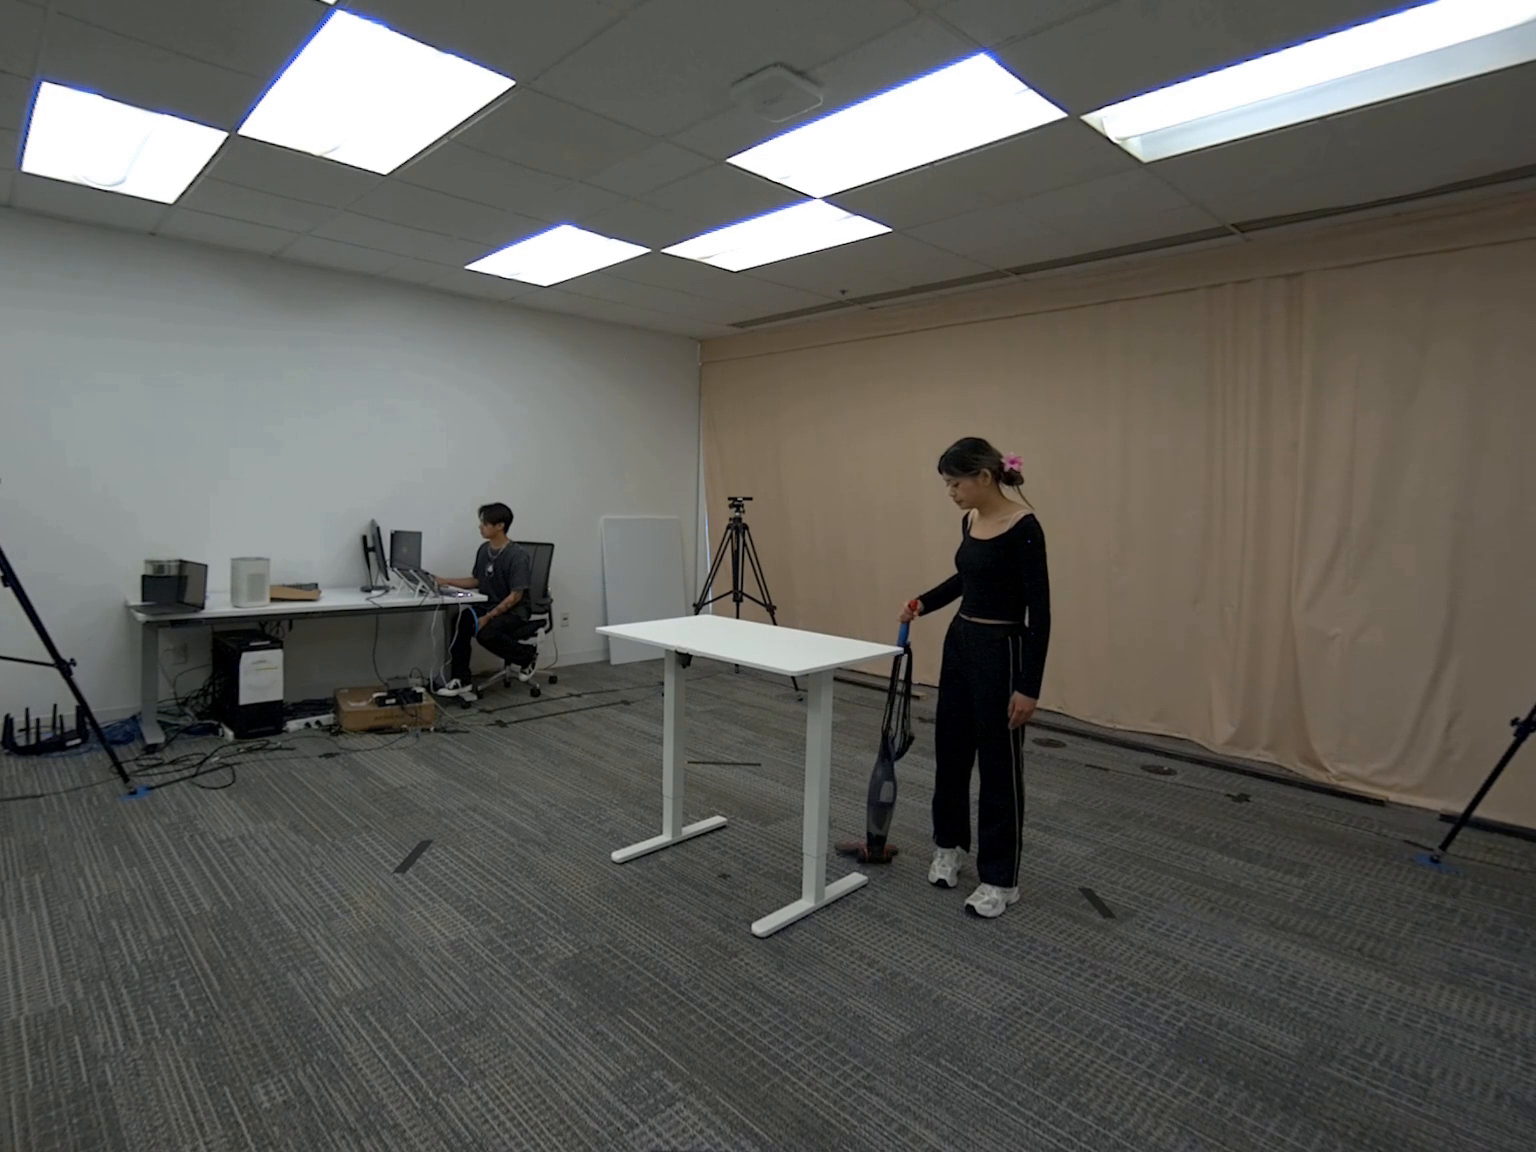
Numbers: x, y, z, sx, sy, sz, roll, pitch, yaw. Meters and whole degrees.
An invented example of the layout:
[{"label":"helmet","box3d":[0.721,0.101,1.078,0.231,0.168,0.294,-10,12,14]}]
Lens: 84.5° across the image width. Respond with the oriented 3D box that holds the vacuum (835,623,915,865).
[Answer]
[{"label":"vacuum","box3d":[0.477,0.603,3.182,0.253,1.042,0.145,11,12,2]}]
